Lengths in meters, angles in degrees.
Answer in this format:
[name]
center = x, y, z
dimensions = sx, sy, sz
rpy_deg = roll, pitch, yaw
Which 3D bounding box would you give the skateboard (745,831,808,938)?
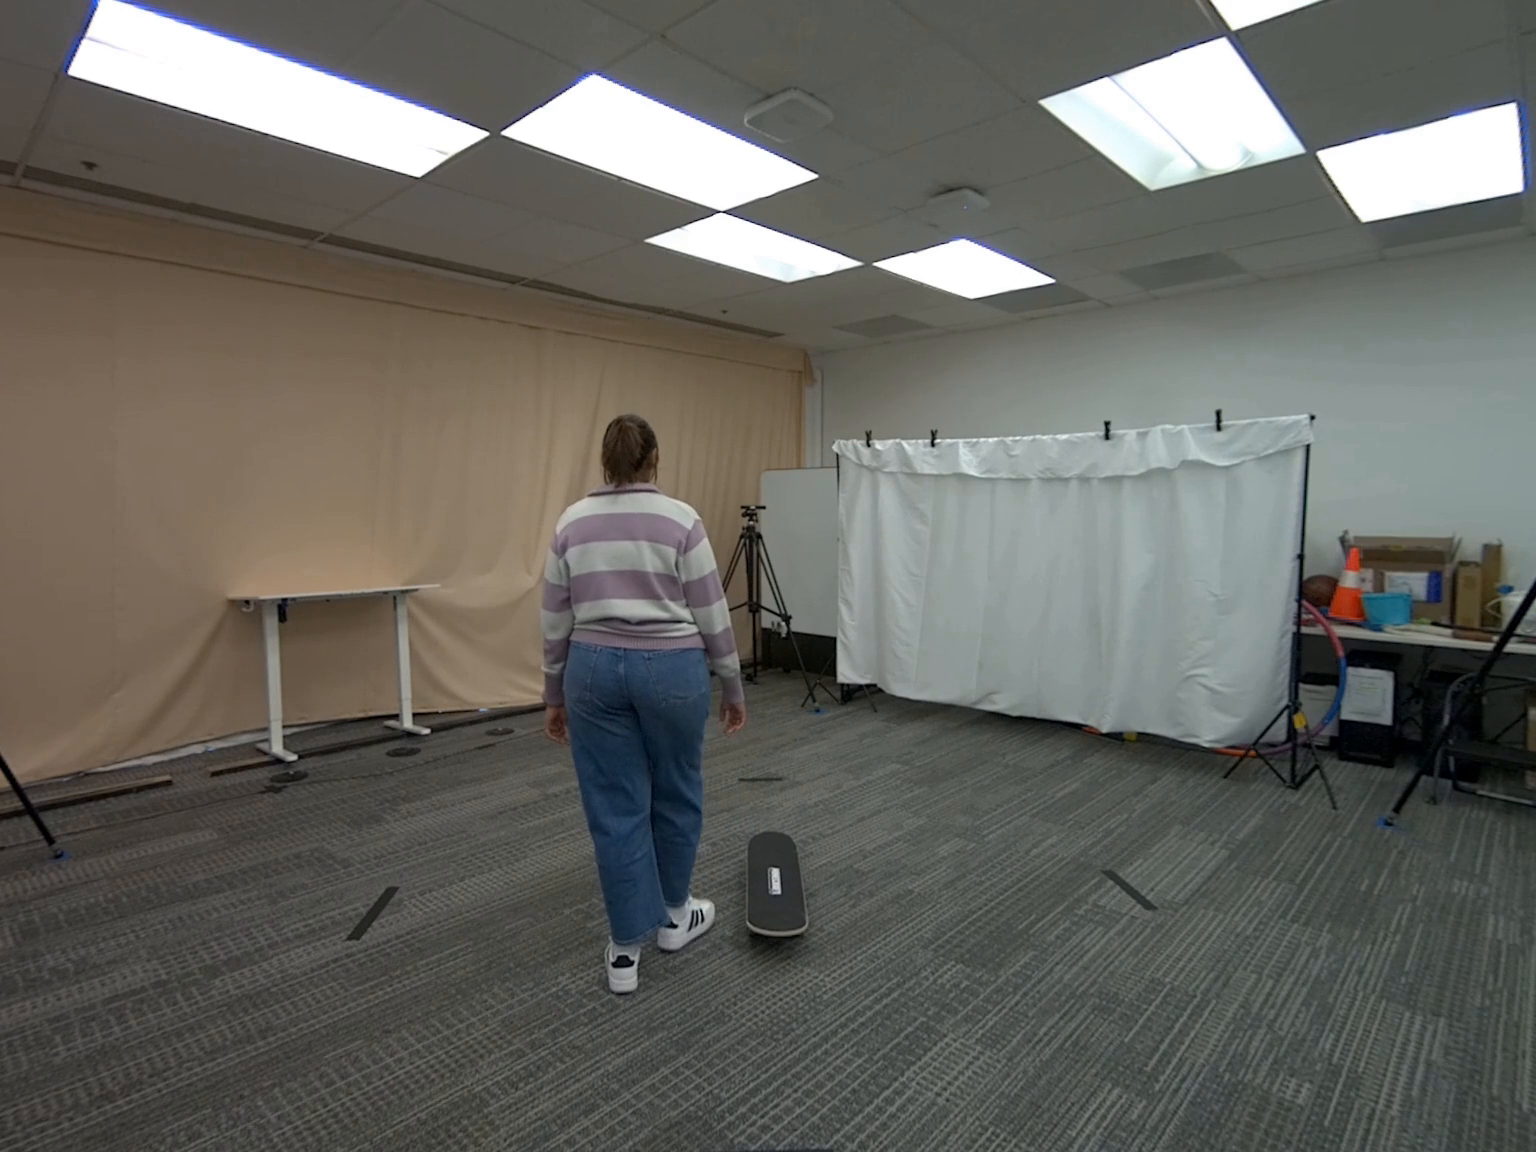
[skateboard]
center = 0.025, 1.088, 2.928
dimensions = 0.194, 0.110, 0.787
rpy_deg = -1, 5, -1
